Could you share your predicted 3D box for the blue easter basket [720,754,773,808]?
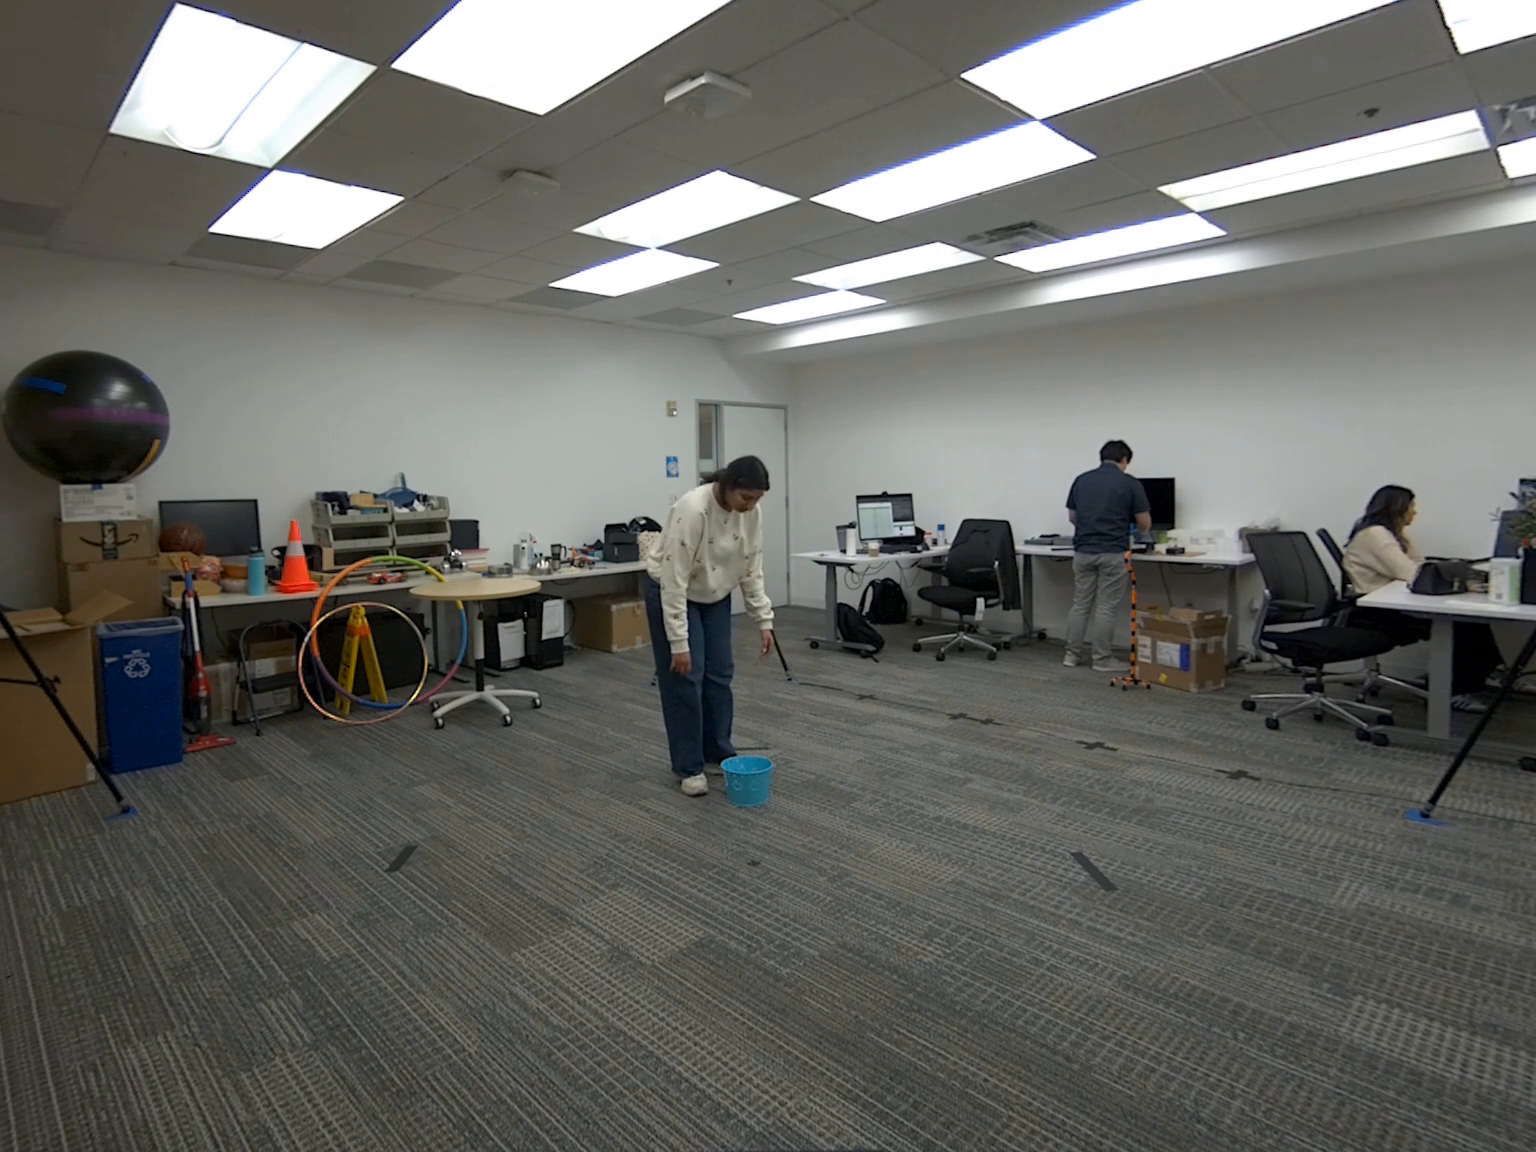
[{"bbox_3d":[-0.084,0.894,3.736,0.243,0.155,0.245,0,5,-2],"label":"blue easter basket"}]
